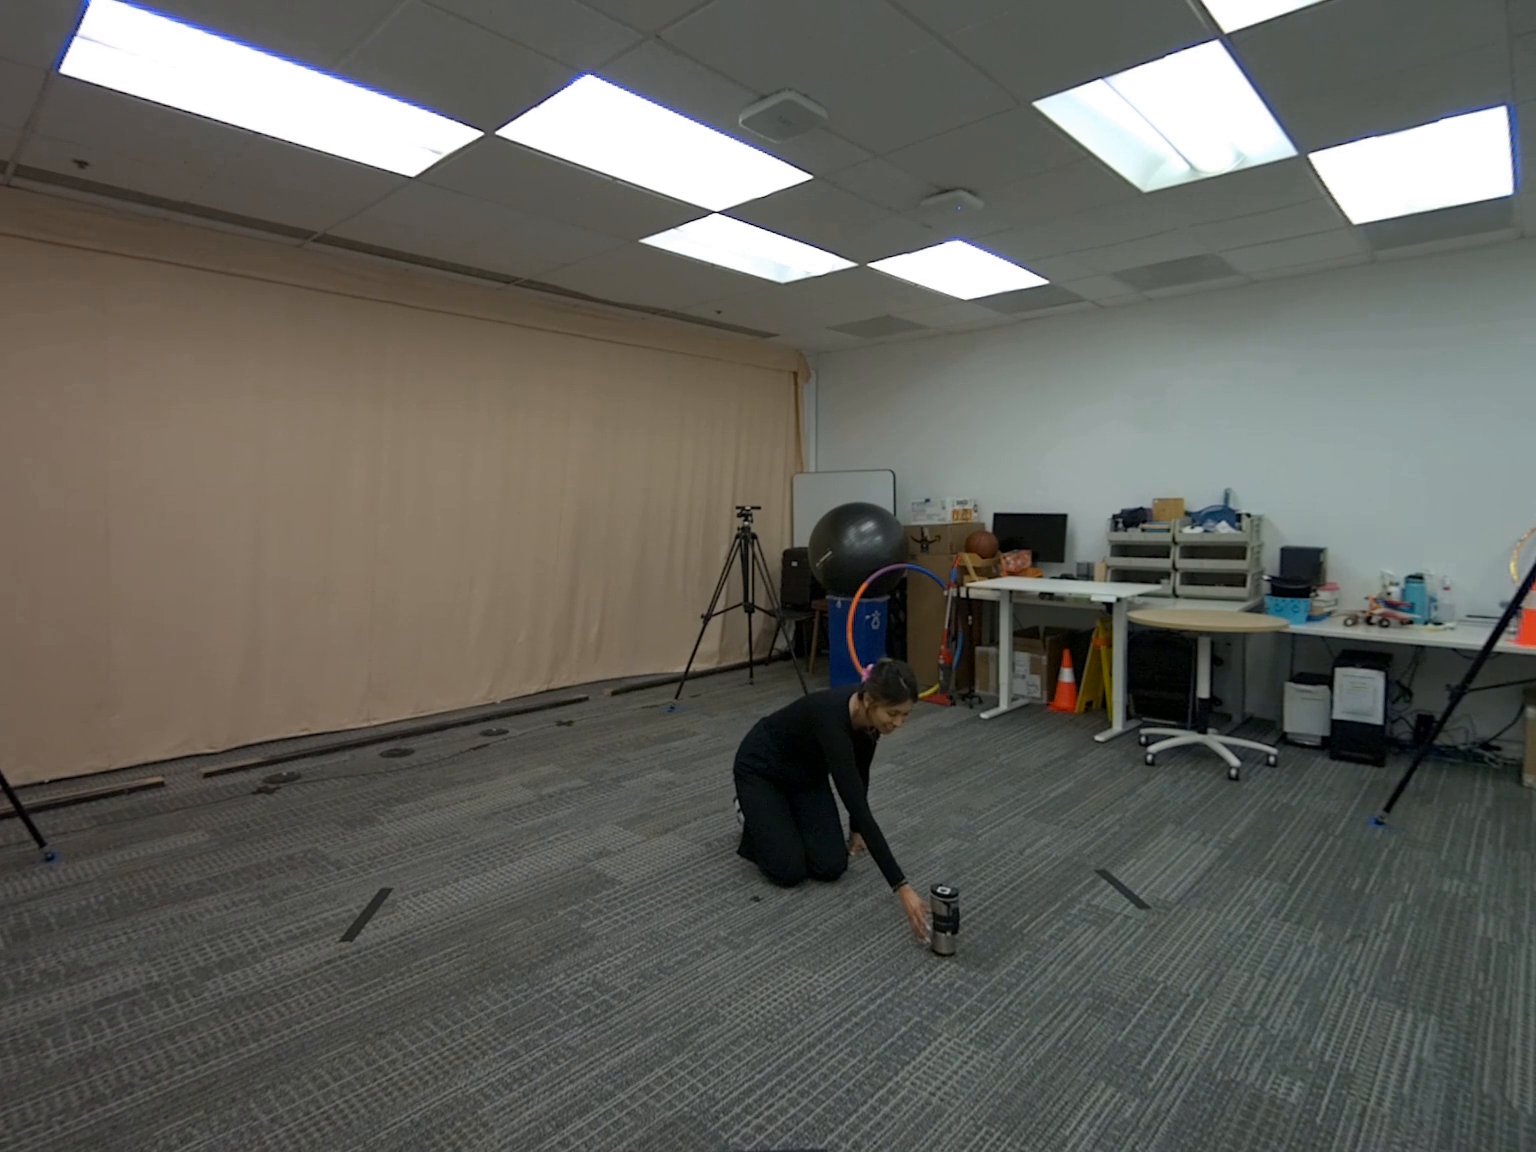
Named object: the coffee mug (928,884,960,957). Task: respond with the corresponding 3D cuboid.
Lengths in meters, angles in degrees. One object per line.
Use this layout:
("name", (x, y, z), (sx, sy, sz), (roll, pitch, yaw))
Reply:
("coffee mug", (0.554, 1.083, 2.597), (0.090, 0.202, 0.119), (6, 6, 21))
